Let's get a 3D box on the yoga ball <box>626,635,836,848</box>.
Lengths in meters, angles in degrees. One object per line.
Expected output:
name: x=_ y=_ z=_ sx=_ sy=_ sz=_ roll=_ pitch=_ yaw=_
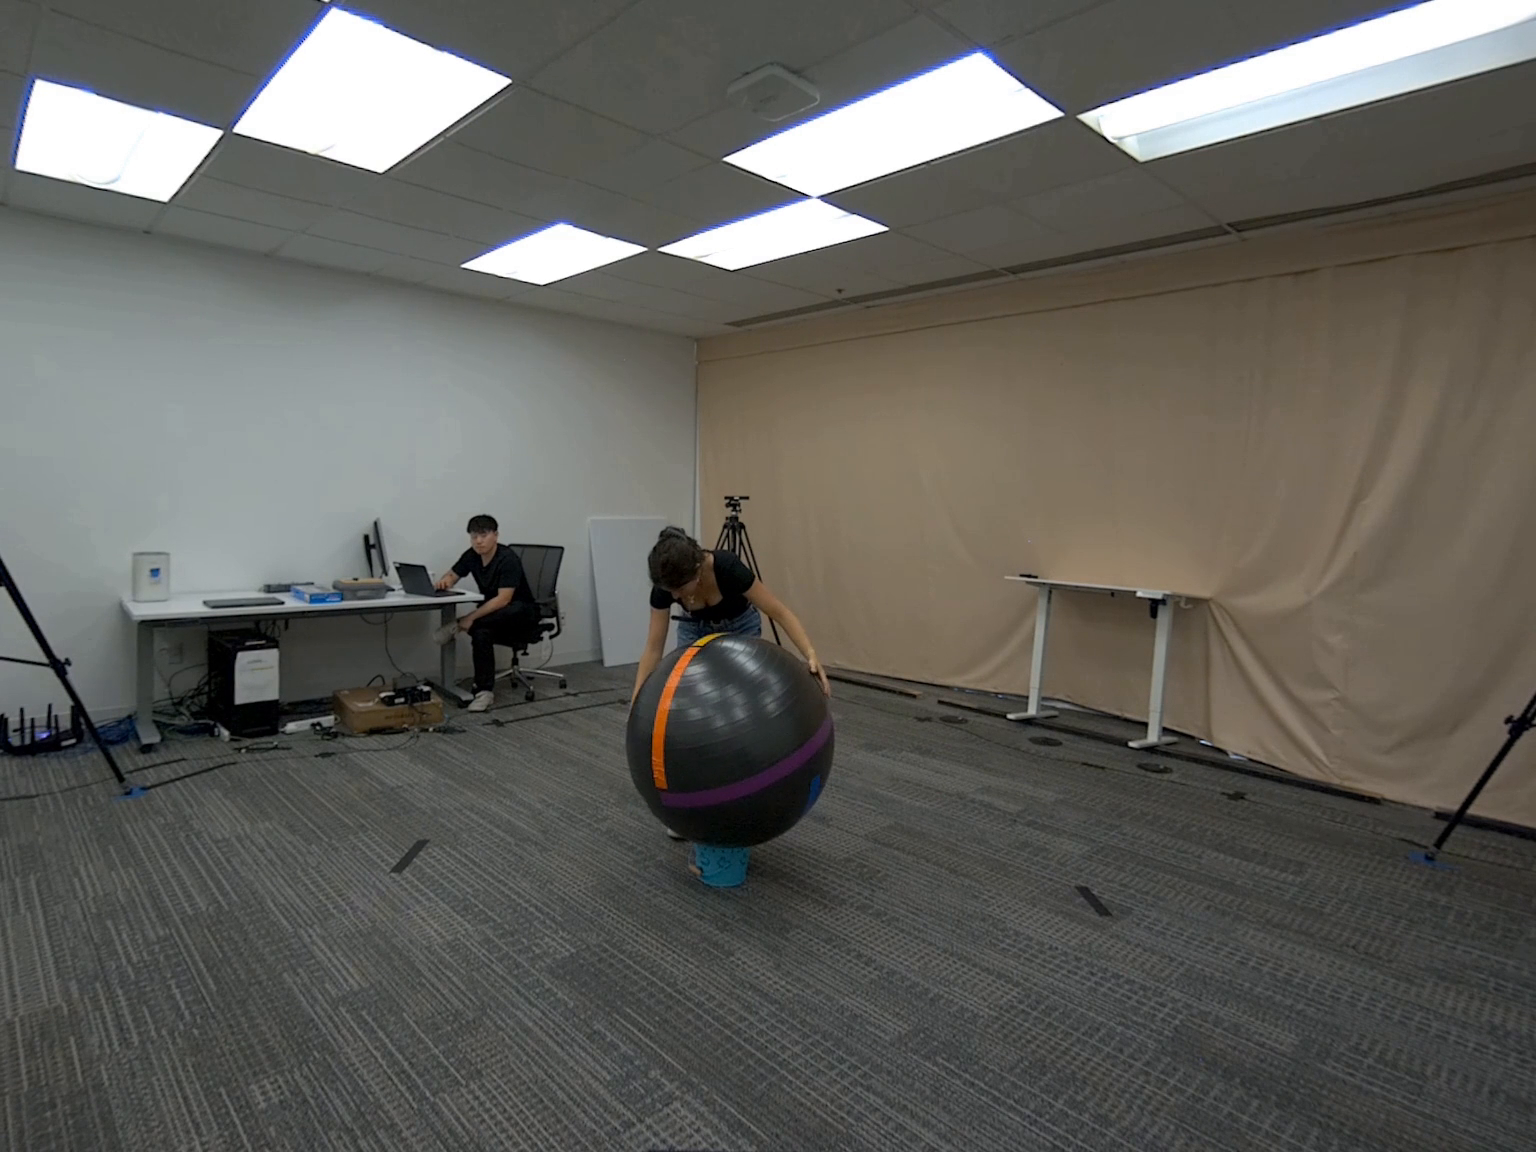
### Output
yoga ball: x=-0.138 y=0.595 z=3.054 sx=0.757 sy=0.756 sz=0.761 roll=1 pitch=4 yaw=-1
